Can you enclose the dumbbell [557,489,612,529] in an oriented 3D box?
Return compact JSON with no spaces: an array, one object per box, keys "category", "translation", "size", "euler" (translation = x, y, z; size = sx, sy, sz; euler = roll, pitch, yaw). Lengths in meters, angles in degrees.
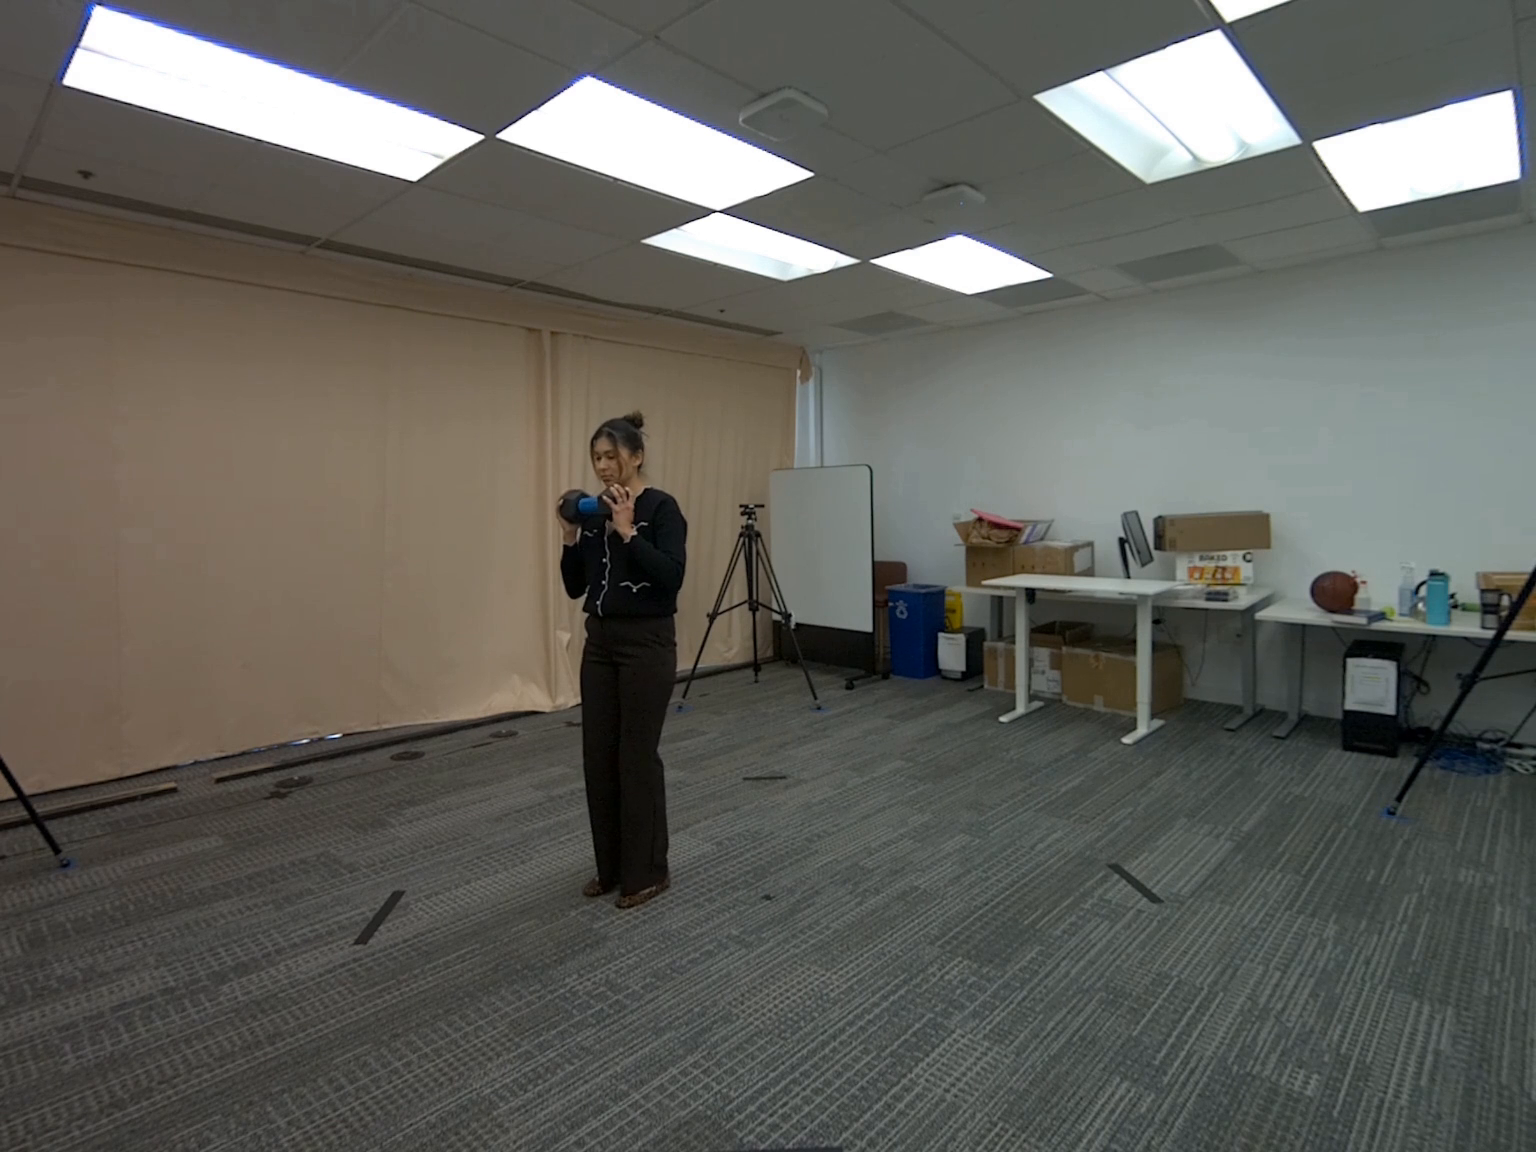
[{"category":"dumbbell","translation":[-0.598,-0.243,2.956],"size":[0.303,0.109,0.118],"euler":[2,-21,43]}]
